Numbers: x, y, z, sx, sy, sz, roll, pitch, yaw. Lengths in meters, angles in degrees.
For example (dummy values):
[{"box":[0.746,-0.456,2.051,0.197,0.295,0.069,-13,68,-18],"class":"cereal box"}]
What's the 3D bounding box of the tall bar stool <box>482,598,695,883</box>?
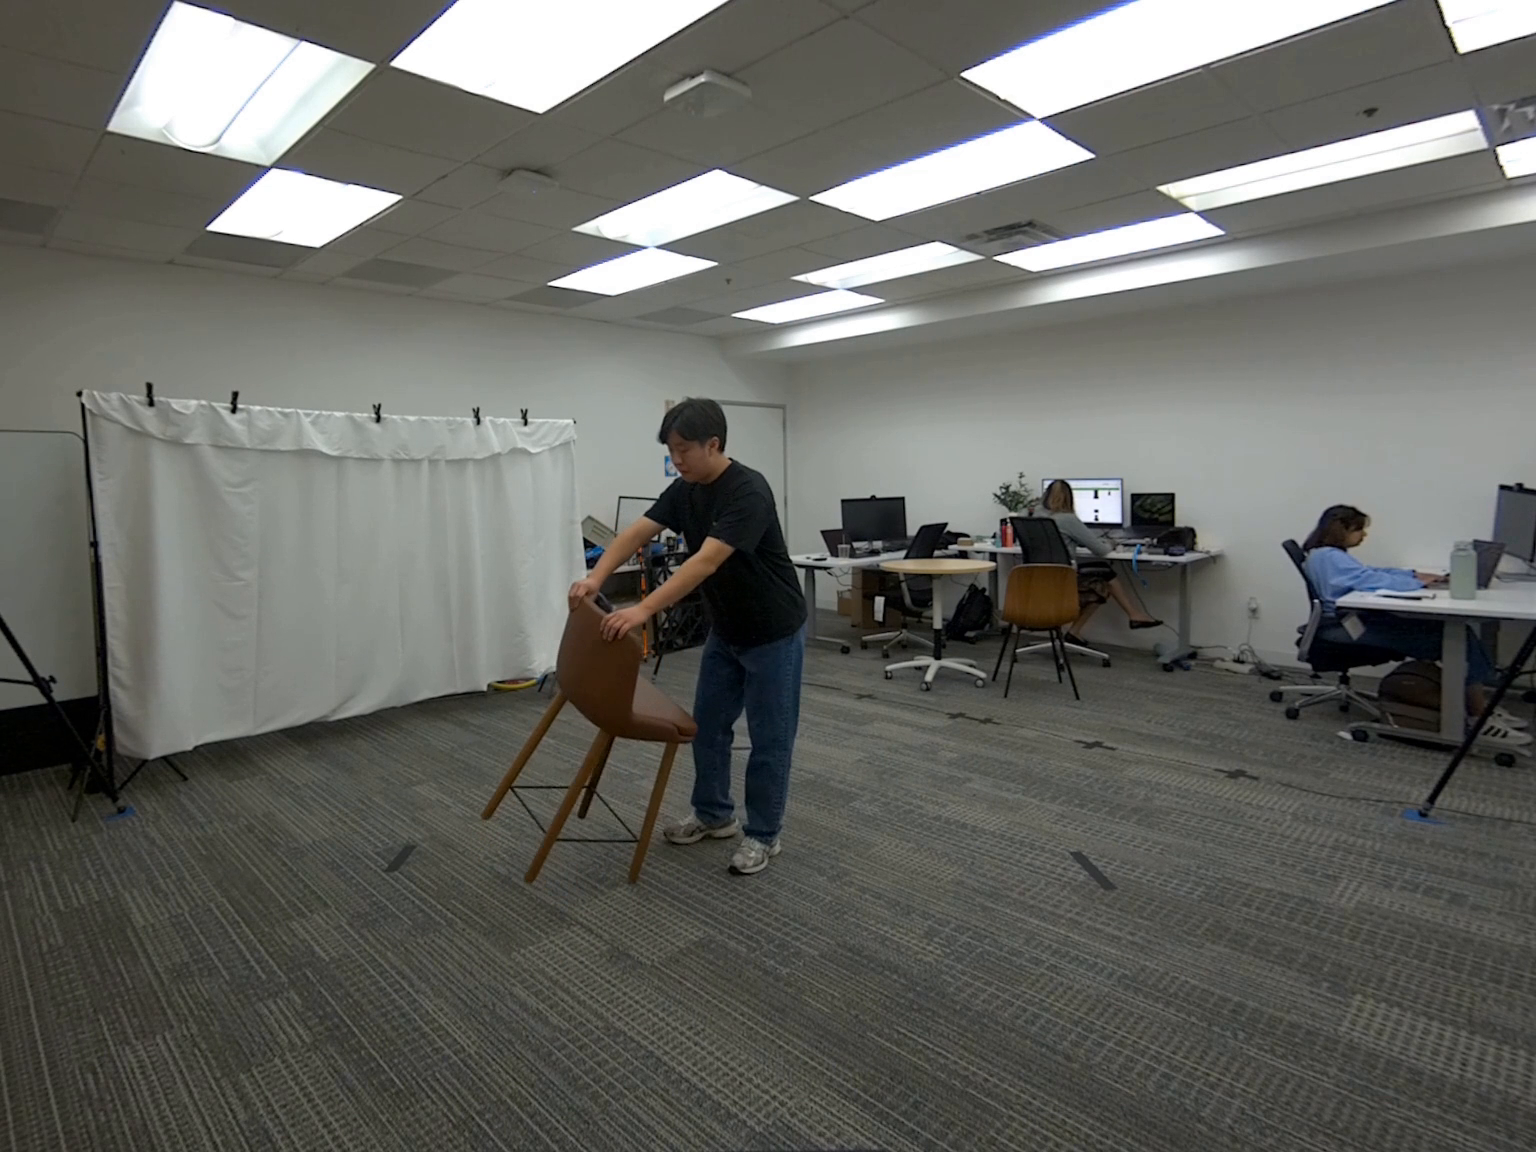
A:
[{"box":[-0.560,0.551,2.928,0.451,0.887,0.474,17,8,-45],"class":"tall bar stool"}]
